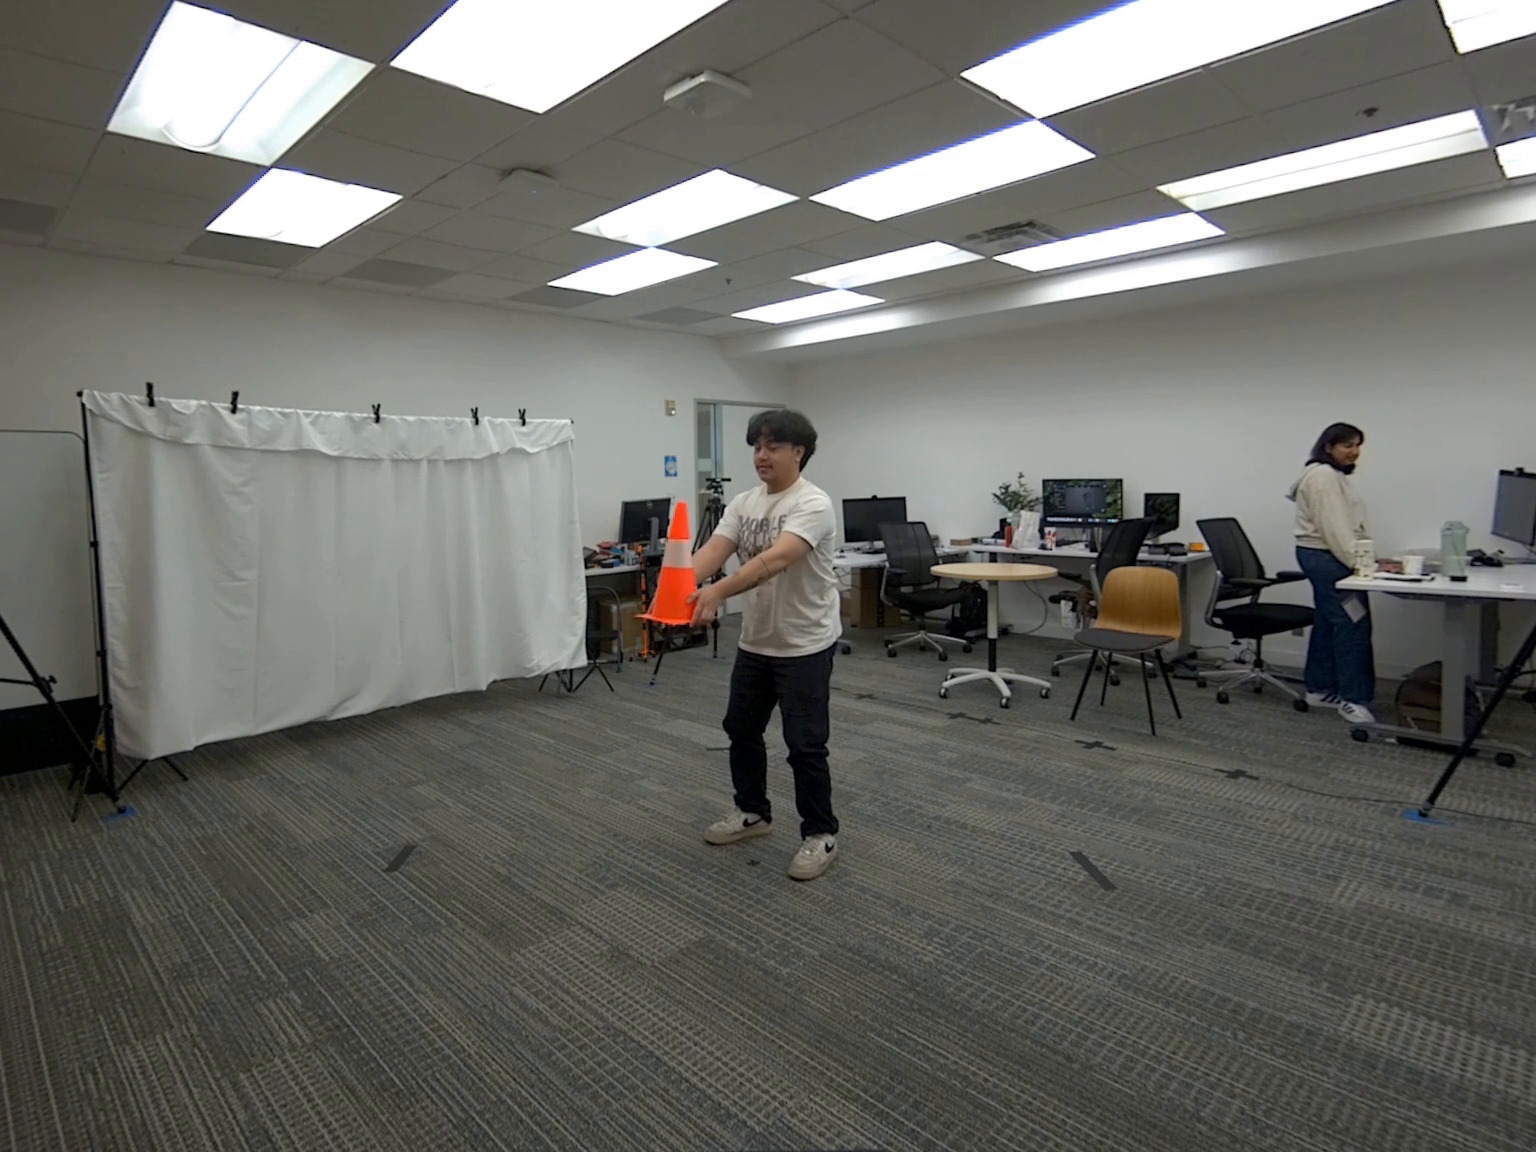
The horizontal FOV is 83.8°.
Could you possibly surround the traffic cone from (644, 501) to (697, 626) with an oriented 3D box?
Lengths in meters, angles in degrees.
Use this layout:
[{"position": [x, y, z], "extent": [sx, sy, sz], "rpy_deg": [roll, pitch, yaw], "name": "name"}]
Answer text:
[{"position": [-0.288, -0.051, 2.787], "extent": [0.210, 0.383, 0.198], "rpy_deg": [1, 2, 31], "name": "traffic cone"}]
